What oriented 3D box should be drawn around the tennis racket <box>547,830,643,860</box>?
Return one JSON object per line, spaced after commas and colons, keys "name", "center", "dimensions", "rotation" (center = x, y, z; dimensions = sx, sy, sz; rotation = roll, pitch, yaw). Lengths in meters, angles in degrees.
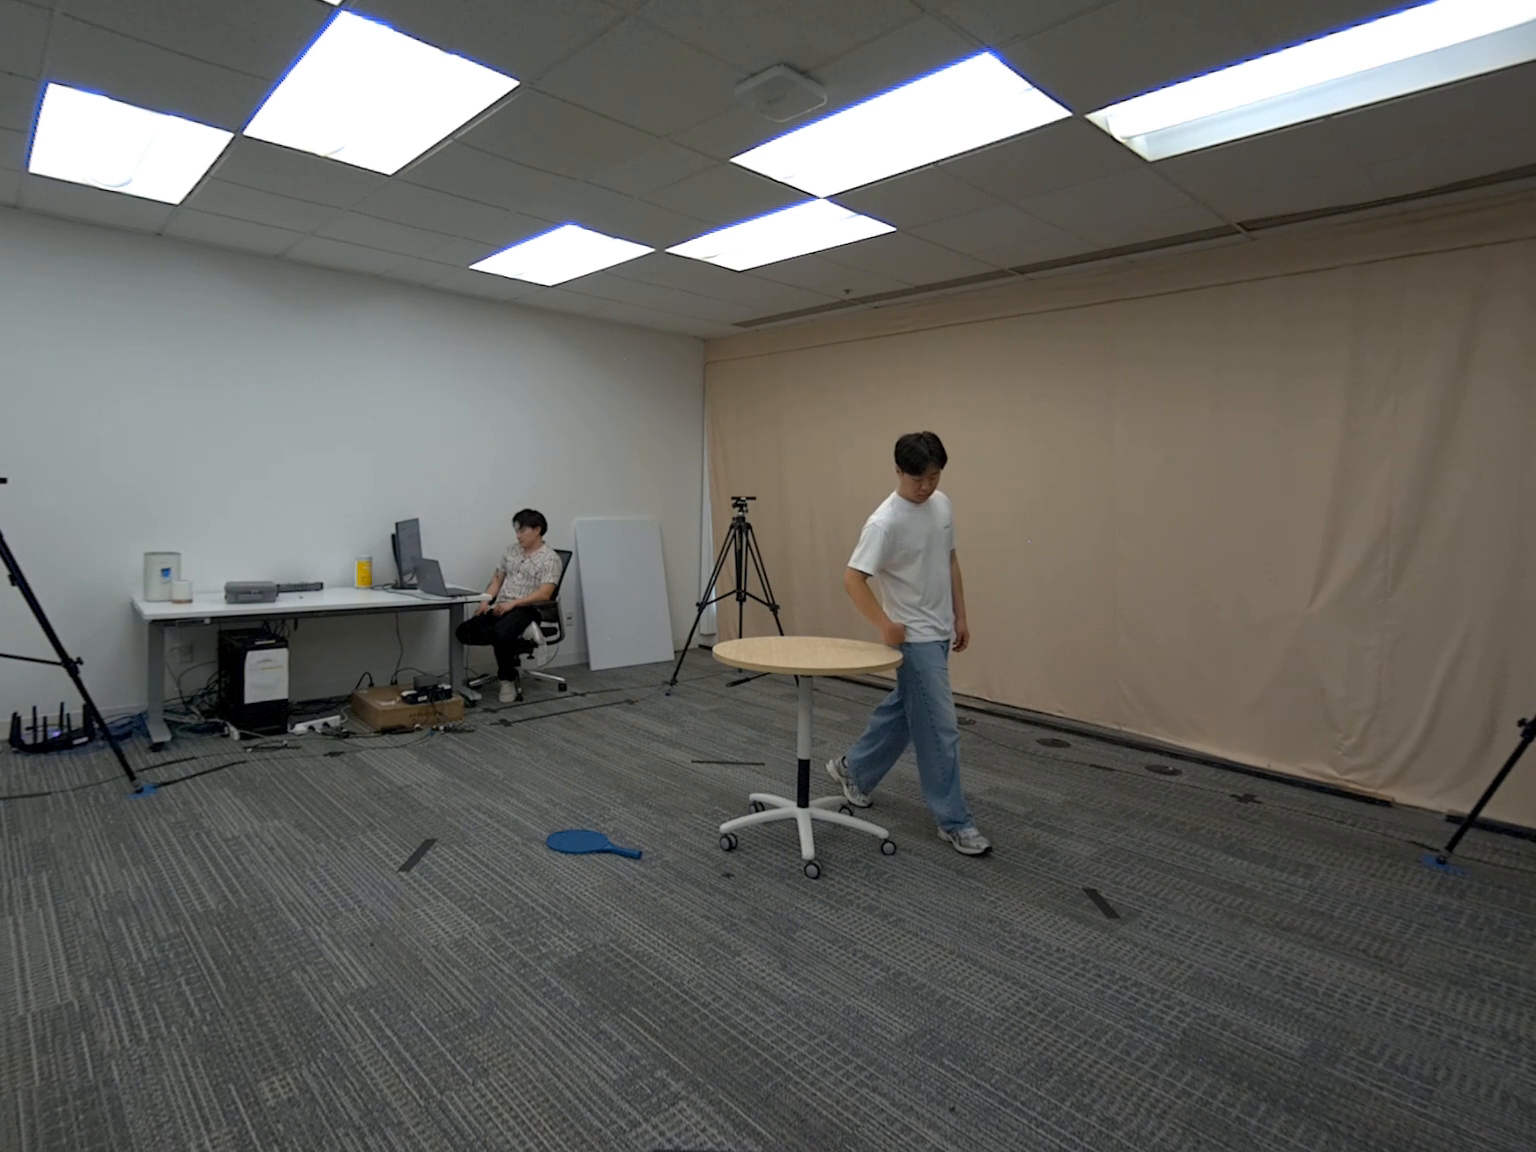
{"name": "tennis racket", "center": [-0.693, 1.061, 3.320], "dimensions": [0.442, 0.031, 0.210], "rotation": [2, 6, 28]}
